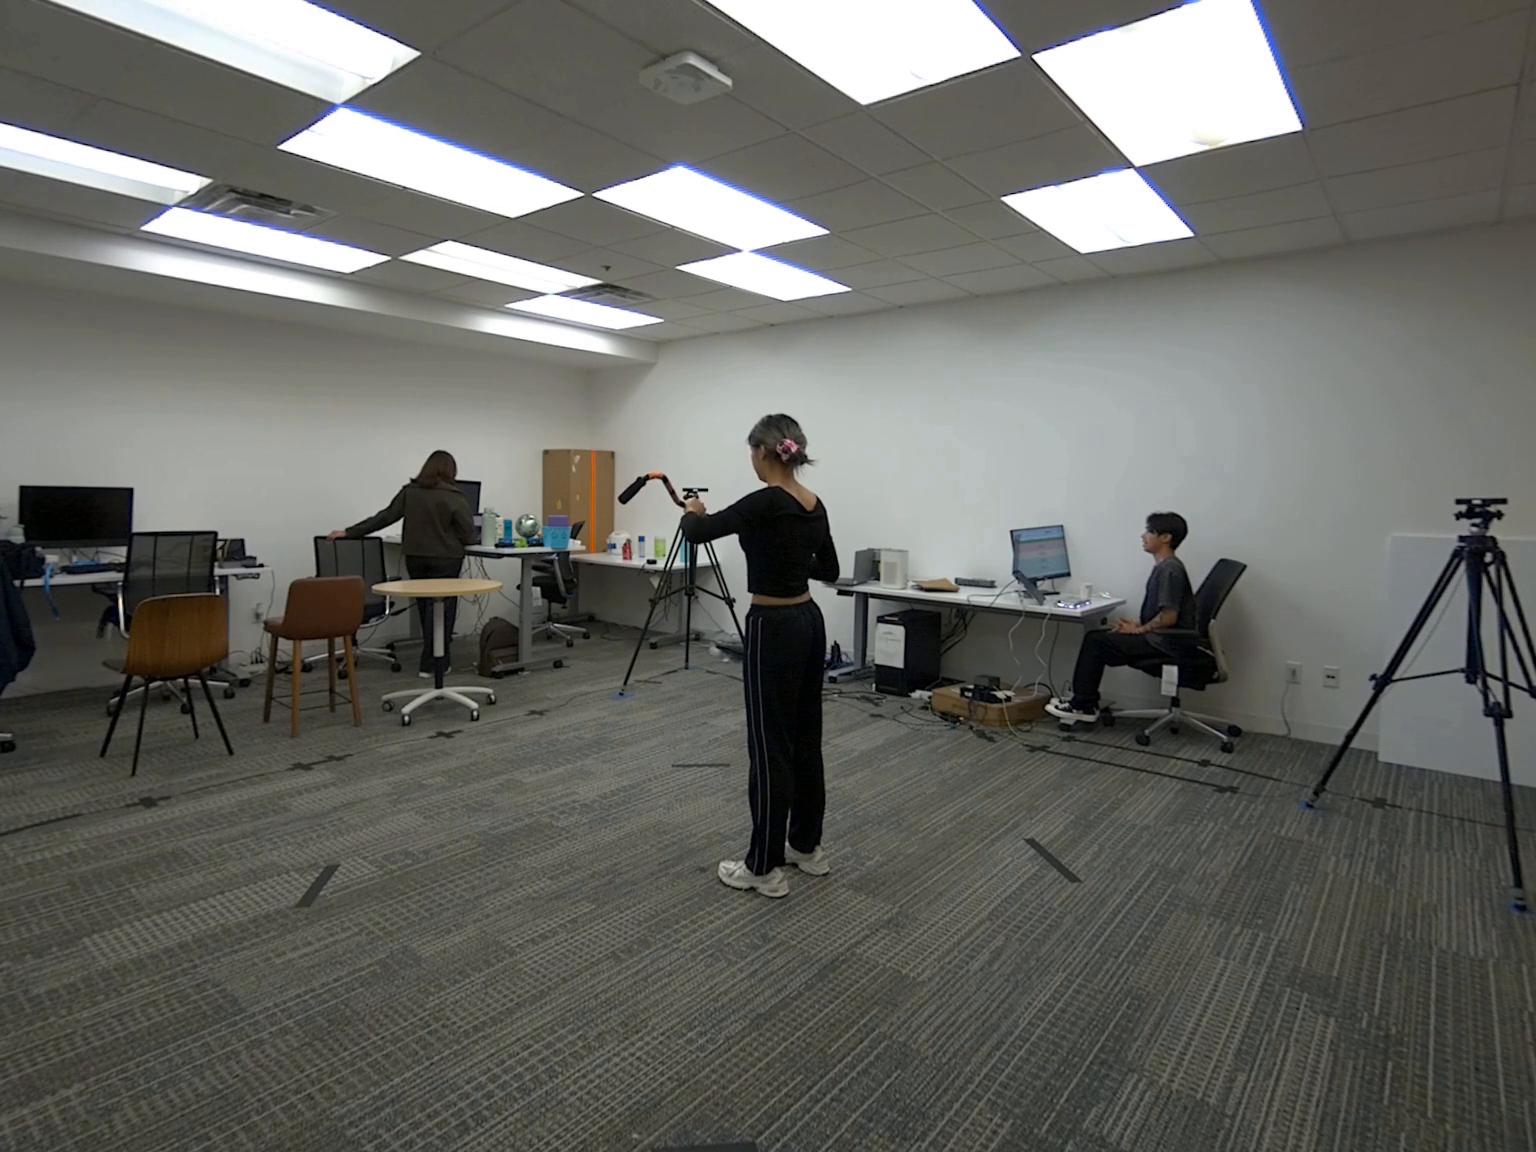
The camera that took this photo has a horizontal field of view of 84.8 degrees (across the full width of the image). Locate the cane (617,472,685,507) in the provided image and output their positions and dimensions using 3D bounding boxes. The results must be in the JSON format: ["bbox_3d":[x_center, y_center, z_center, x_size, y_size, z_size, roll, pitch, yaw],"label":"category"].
[{"bbox_3d":[-0.182,-0.184,3.138,0.207,0.157,0.871,-40,-38,21],"label":"cane"}]
